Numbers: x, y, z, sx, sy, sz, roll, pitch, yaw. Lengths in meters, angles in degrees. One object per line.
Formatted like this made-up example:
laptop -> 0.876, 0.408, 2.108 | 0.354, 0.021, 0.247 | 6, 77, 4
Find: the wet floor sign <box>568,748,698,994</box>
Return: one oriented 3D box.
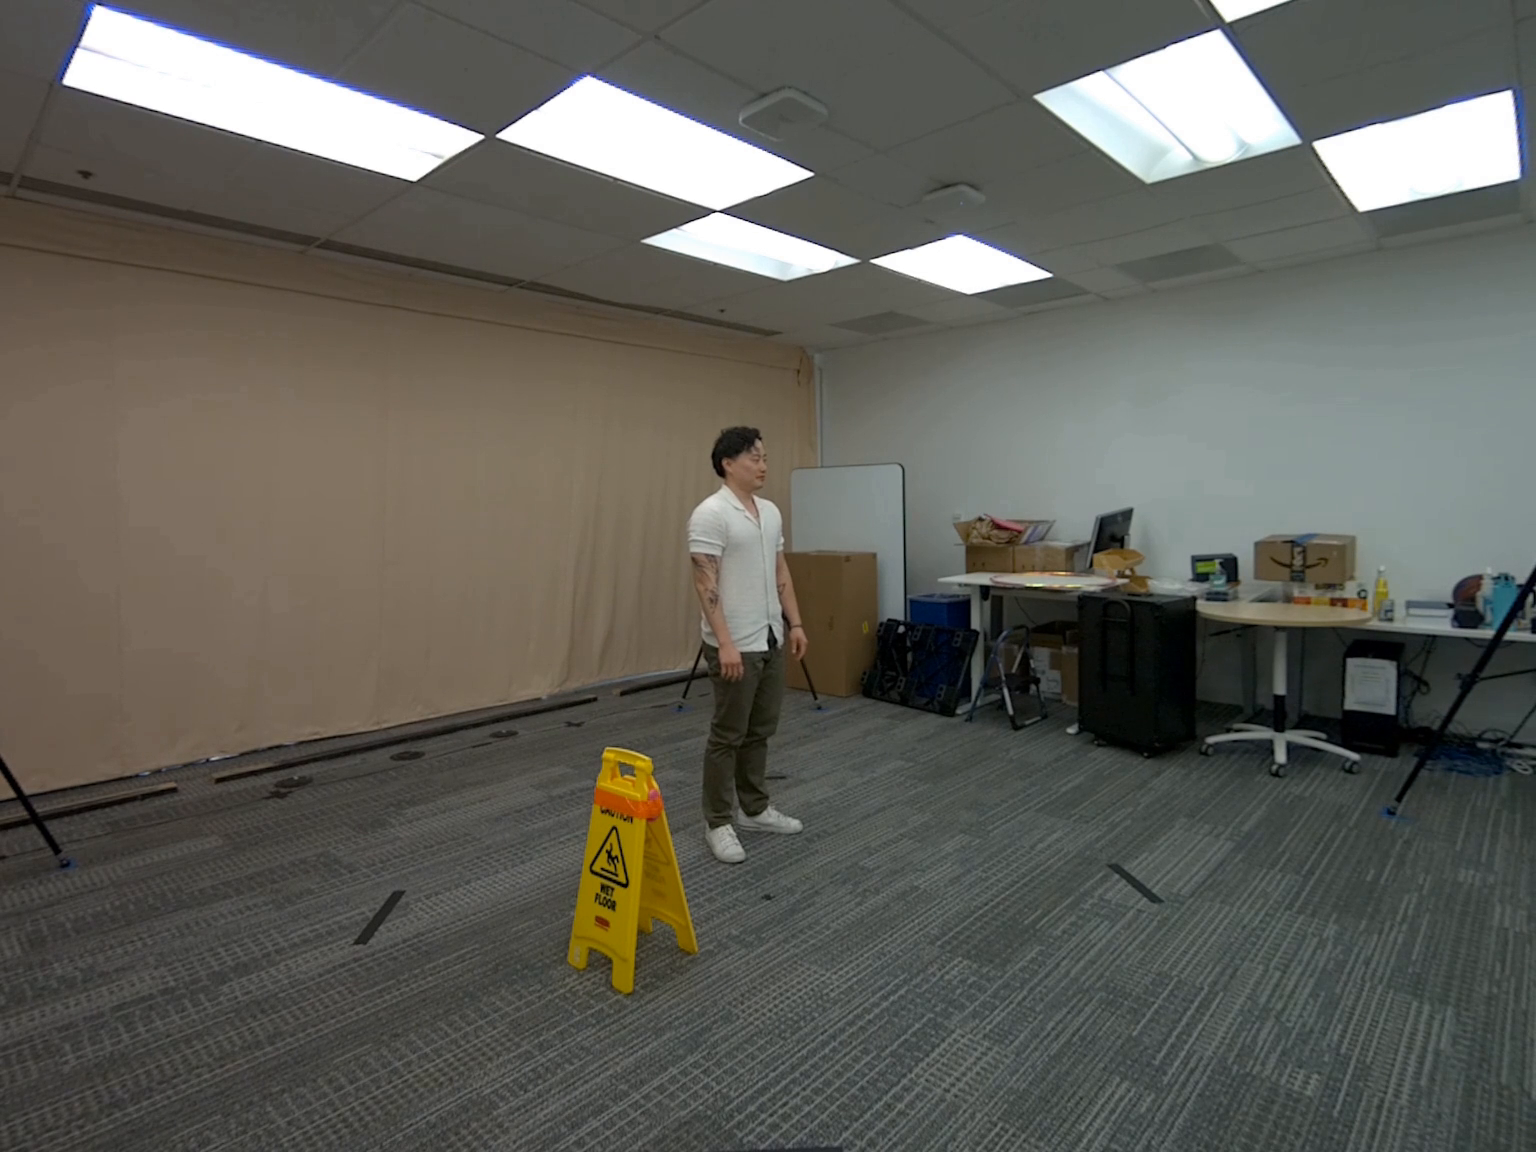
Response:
wet floor sign -> -0.424, 0.860, 2.579 | 0.291, 0.645, 0.281 | 0, 4, 40
